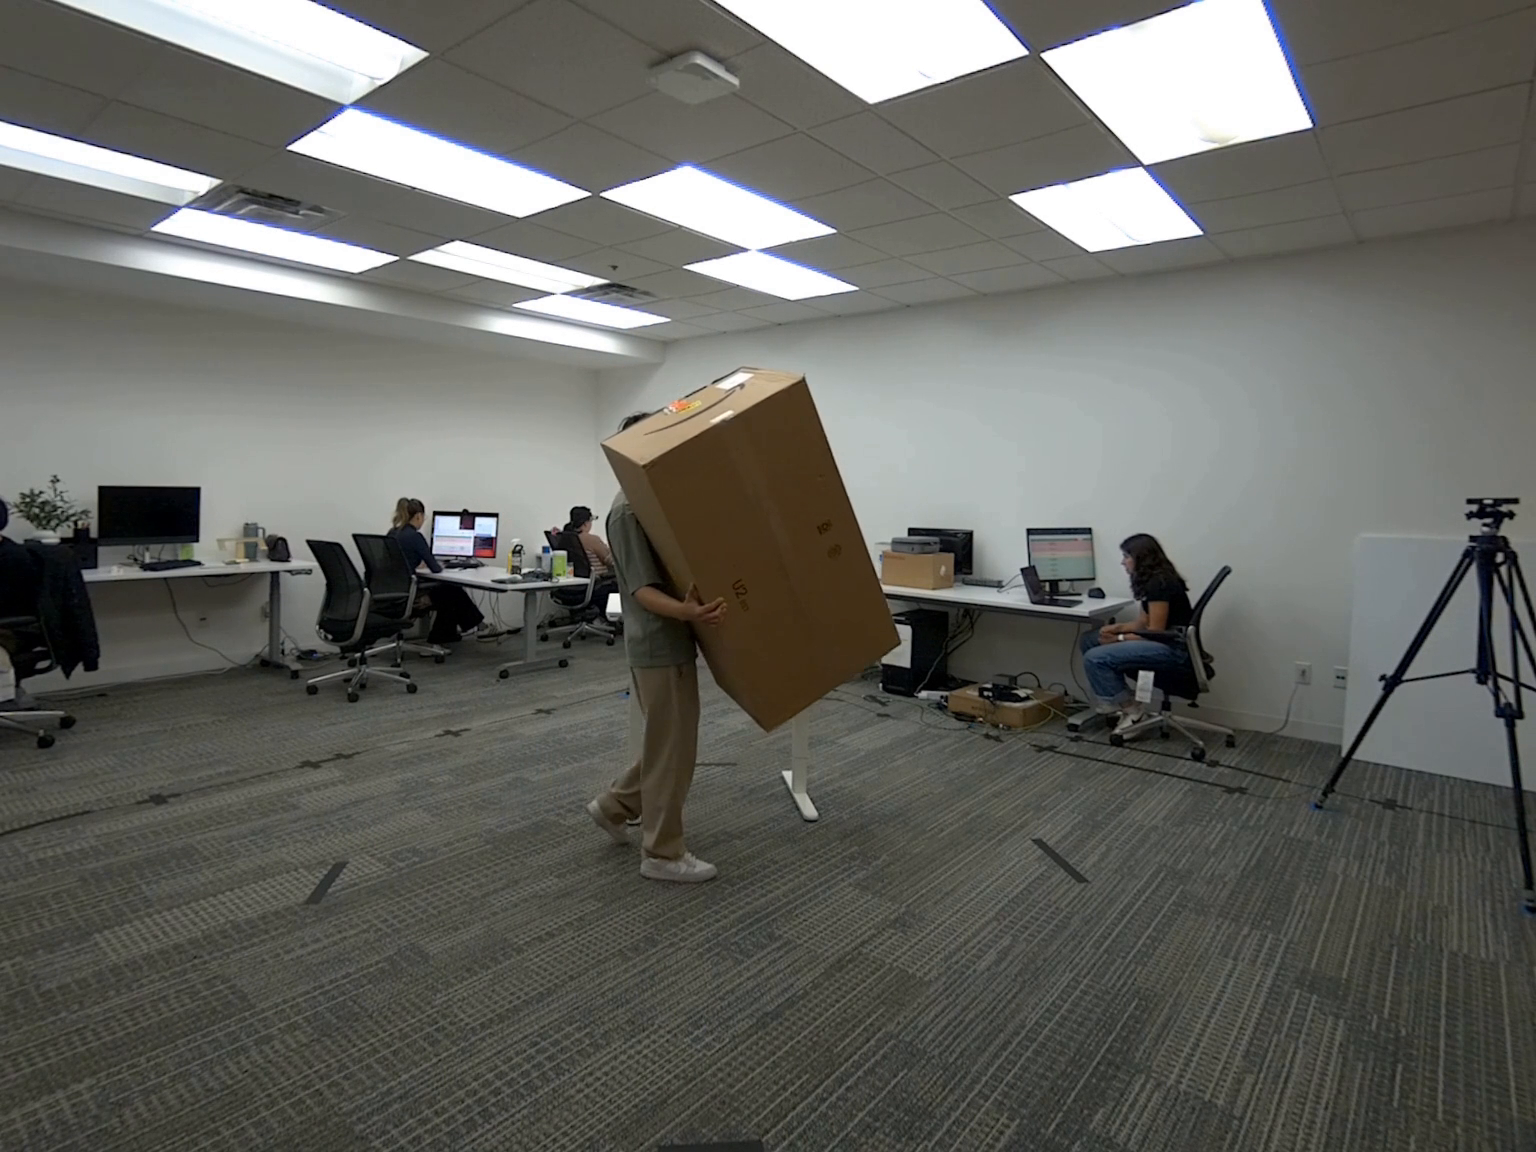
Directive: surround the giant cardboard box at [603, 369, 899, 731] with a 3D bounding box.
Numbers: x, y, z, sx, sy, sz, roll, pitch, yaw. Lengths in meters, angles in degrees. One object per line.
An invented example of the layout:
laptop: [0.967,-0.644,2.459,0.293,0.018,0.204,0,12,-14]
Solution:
giant cardboard box: [-0.056,-0.102,2.851,0.573,0.996,0.442,-31,26,-17]
